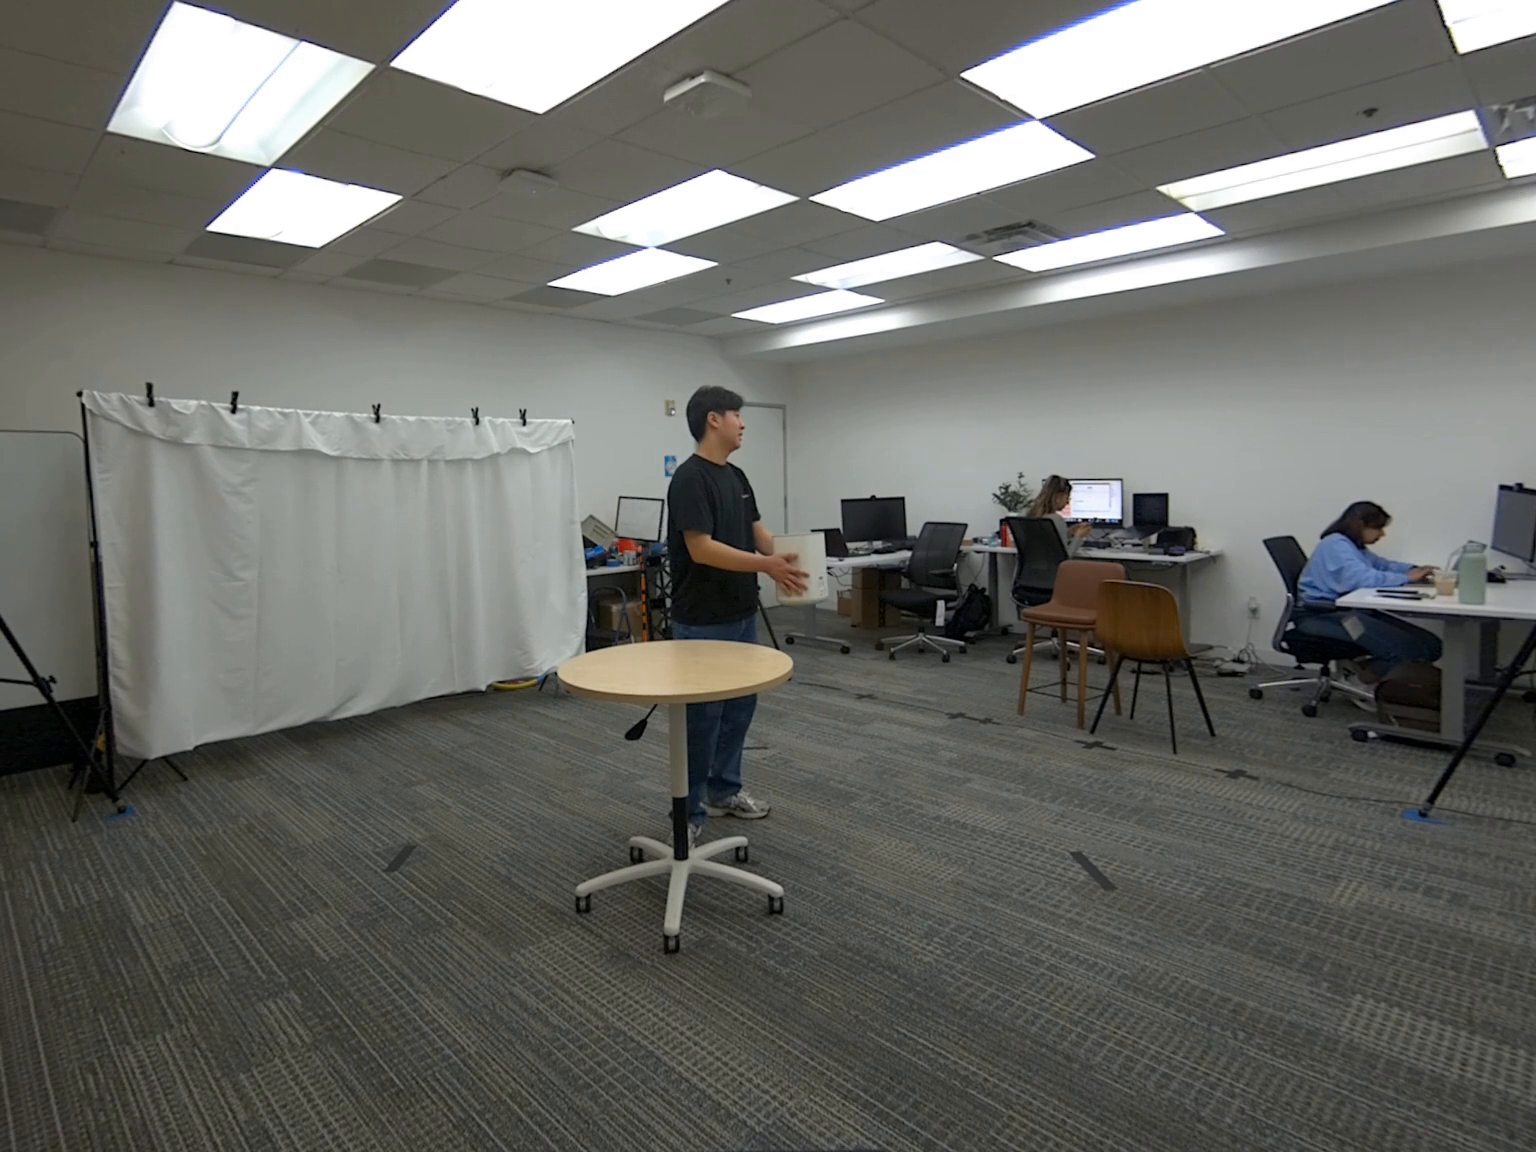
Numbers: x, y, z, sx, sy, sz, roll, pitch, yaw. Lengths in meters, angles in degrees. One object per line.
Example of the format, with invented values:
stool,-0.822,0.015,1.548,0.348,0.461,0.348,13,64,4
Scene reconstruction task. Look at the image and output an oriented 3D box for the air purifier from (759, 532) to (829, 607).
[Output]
air purifier,0.119,-0.025,3.210,0.176,0.265,0.167,-3,3,32
